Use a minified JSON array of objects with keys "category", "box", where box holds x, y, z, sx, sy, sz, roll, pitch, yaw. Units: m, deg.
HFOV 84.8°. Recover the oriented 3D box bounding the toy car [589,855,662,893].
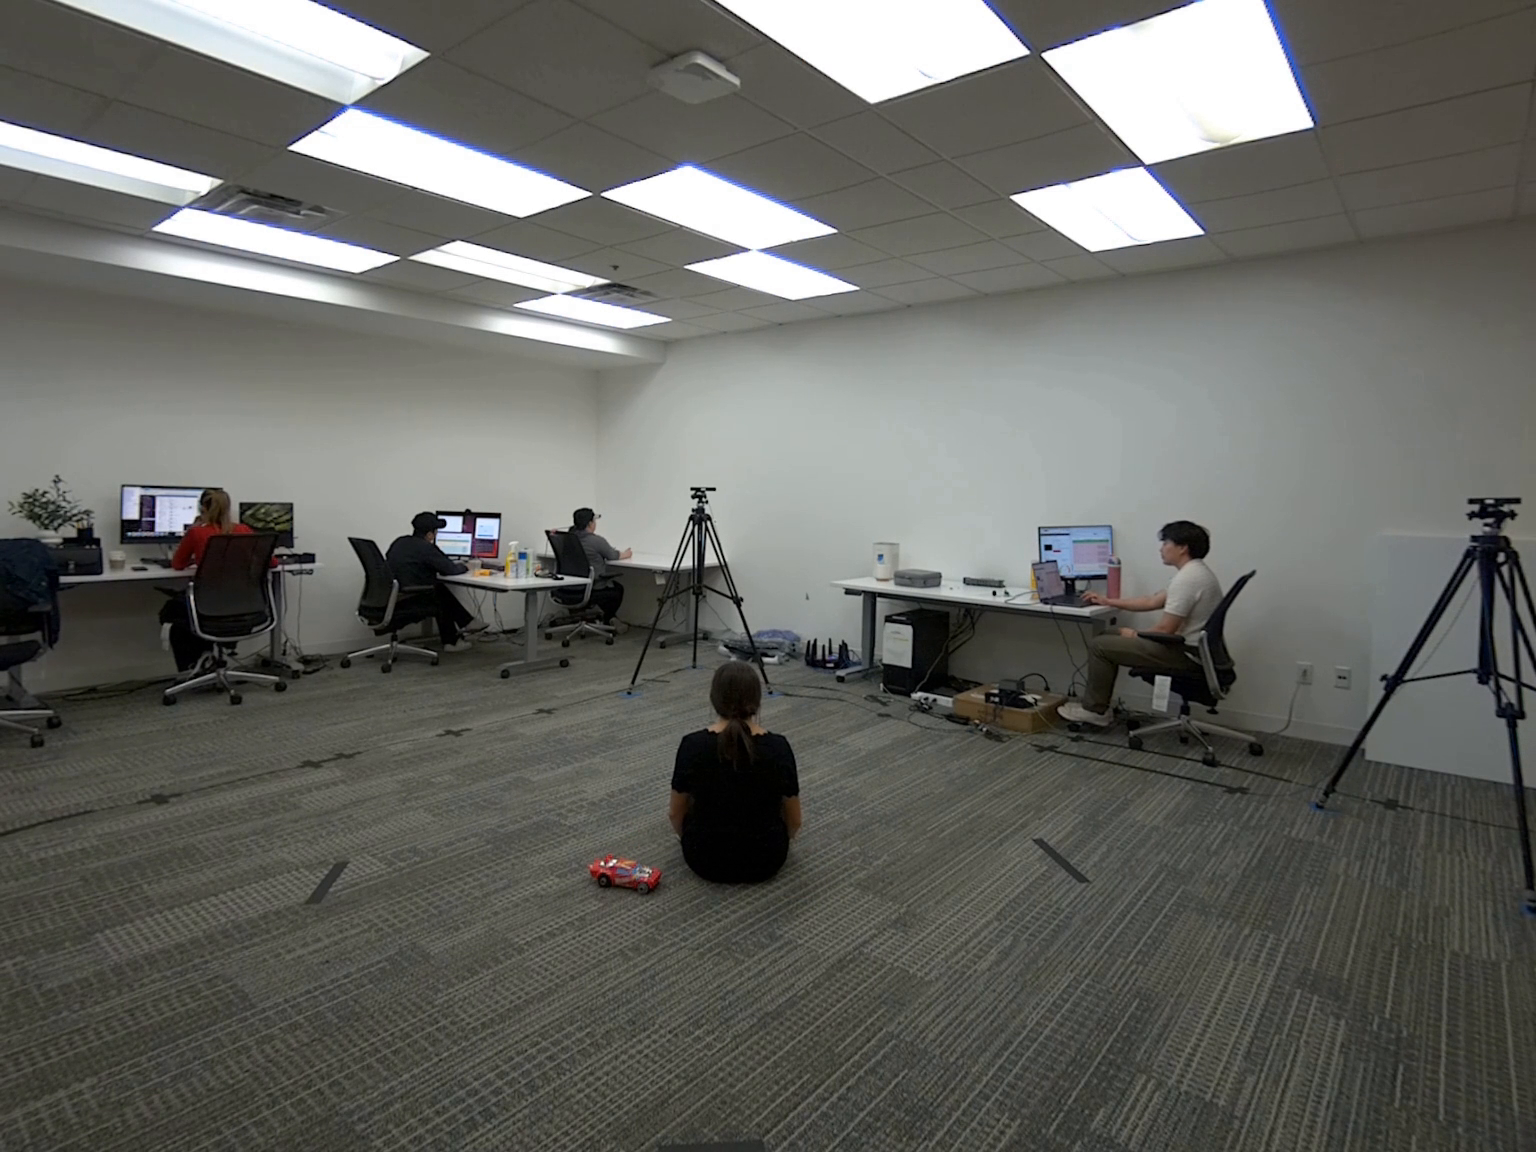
[{"category":"toy car","box":[-0.518,1.042,2.981,0.260,0.083,0.128,13,8,16]}]
